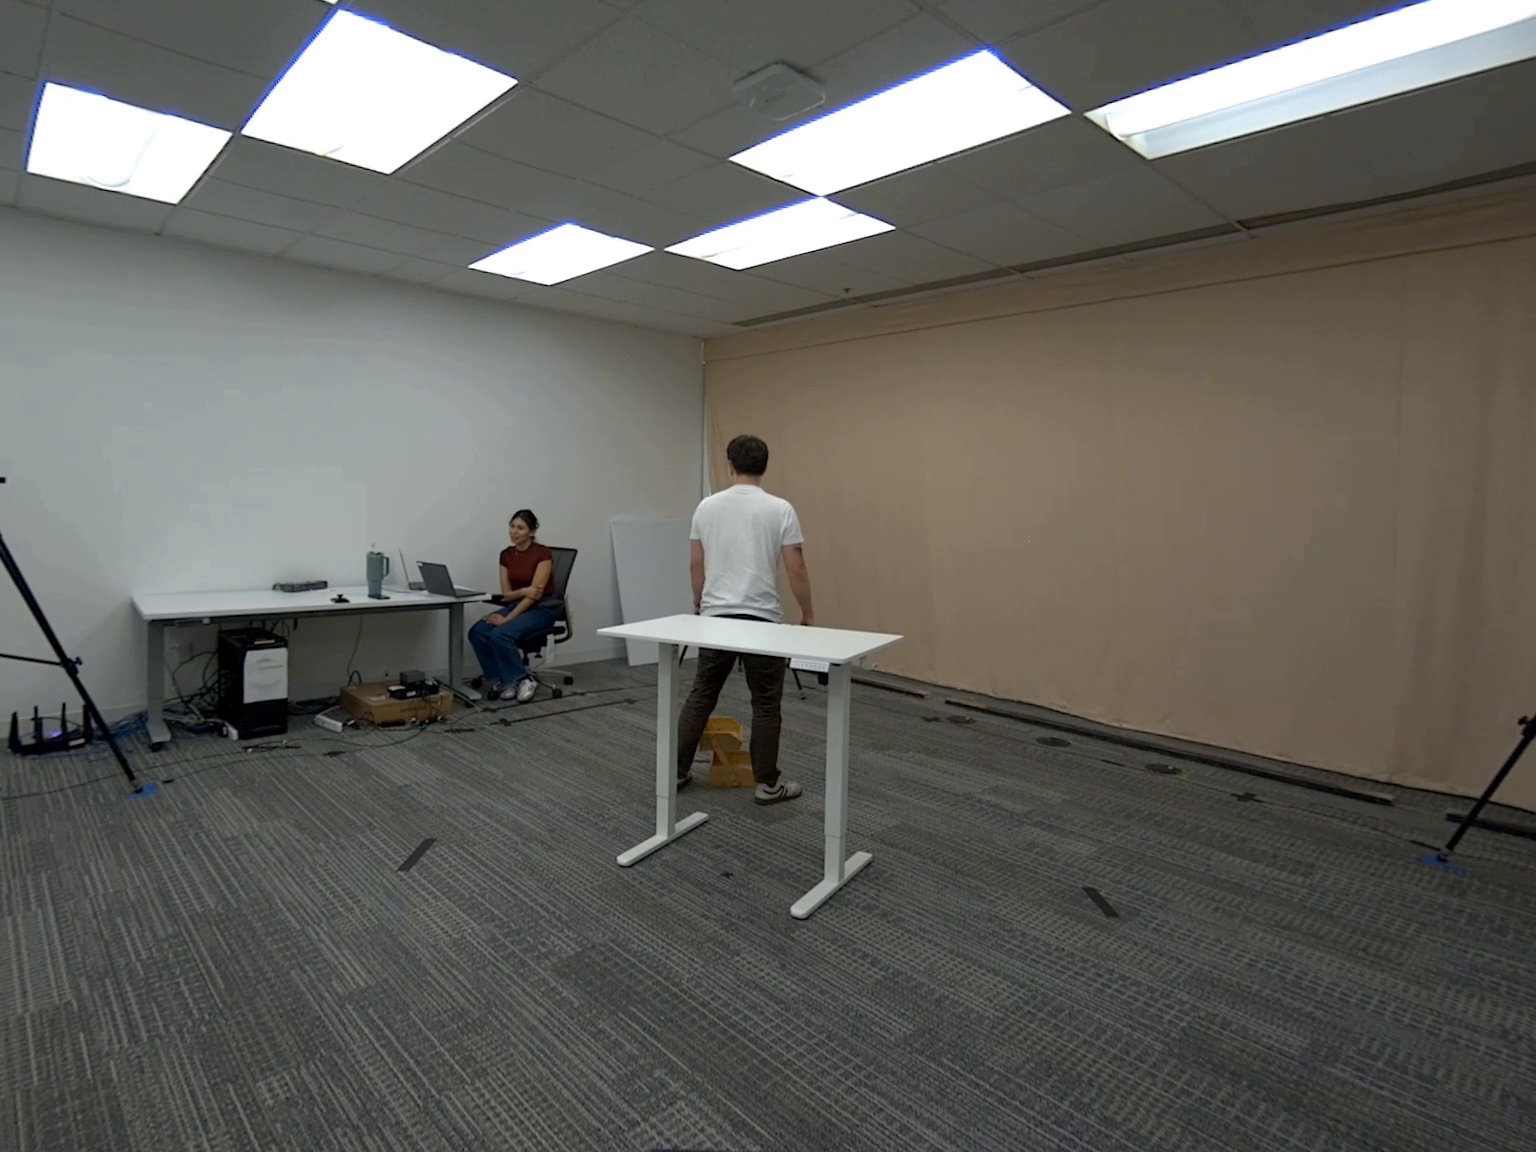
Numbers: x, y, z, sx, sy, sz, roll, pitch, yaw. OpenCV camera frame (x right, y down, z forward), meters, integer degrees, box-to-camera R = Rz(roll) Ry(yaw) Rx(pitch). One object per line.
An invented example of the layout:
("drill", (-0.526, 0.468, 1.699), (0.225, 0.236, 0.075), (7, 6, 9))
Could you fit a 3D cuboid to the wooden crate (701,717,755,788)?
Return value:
("wooden crate", (-0.195, 0.874, 4.235), (0.302, 0.272, 0.326), (0, 4, -2))
